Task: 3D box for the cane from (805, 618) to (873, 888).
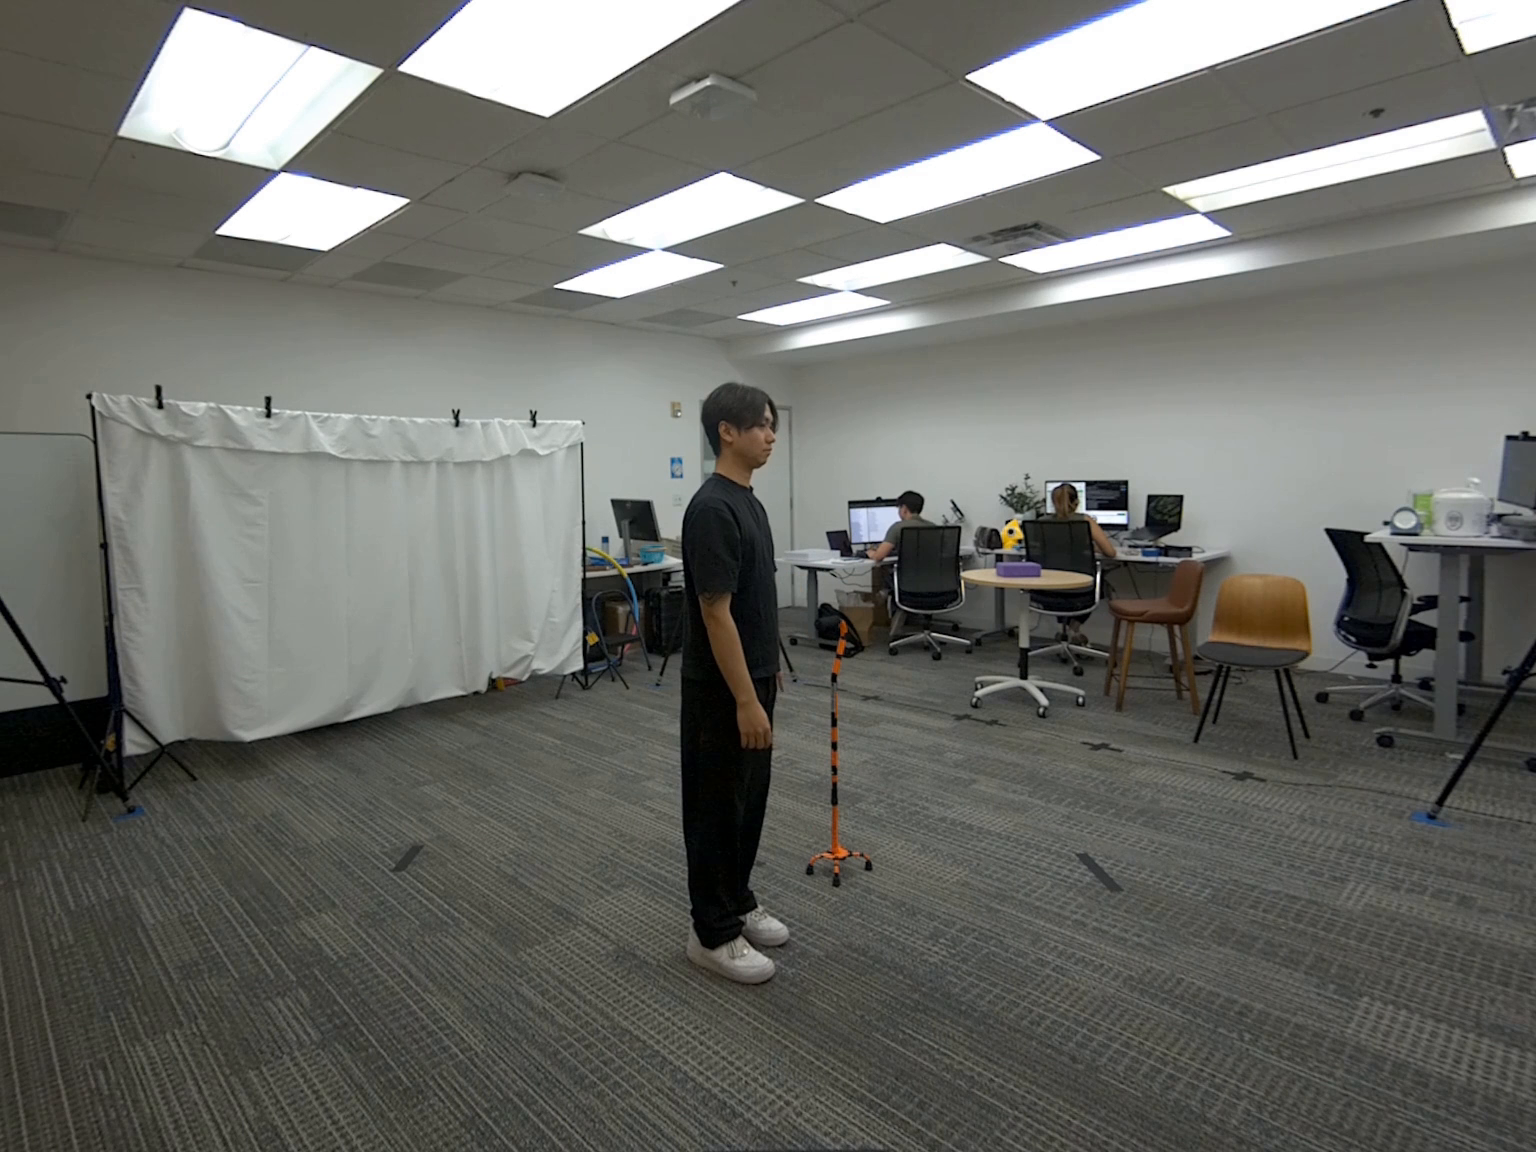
[{"bbox_3d":[0.251,0.600,3.012,0.201,0.906,0.156,-4,4,-44],"label":"cane"}]
